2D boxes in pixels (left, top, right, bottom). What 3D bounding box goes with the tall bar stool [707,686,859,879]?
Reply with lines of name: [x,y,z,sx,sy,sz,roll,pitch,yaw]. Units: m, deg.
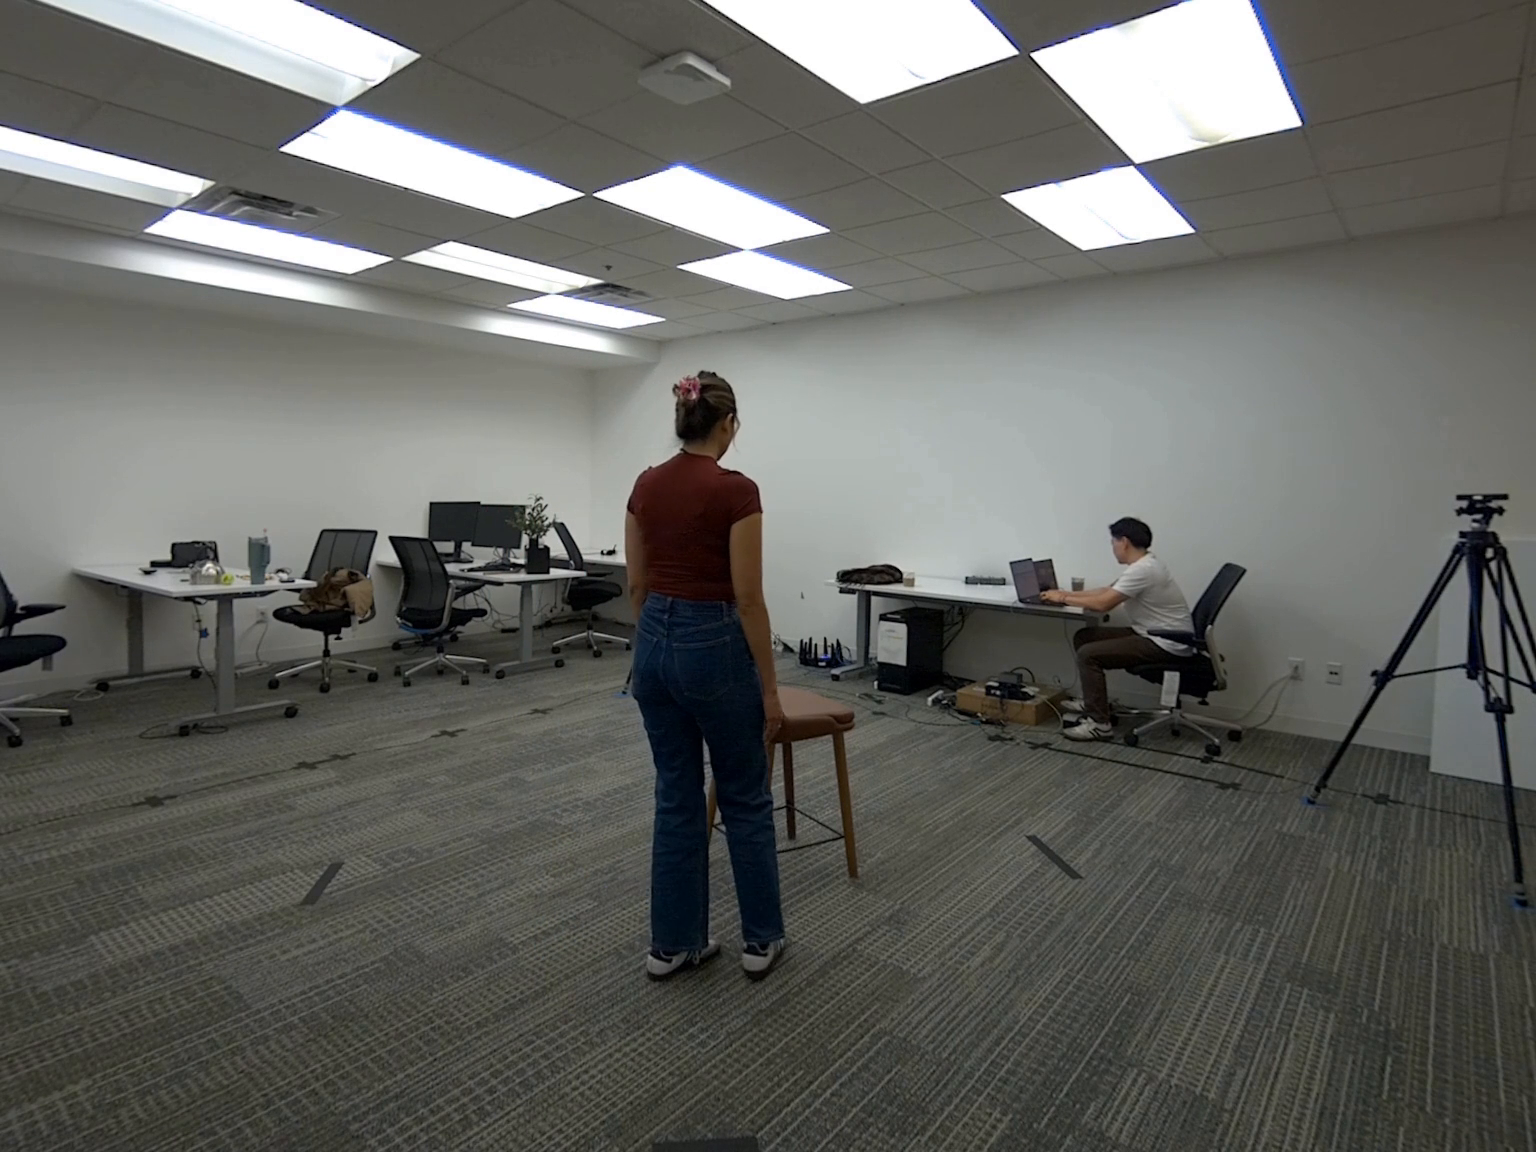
tall bar stool: [0.023,0.632,3.092,0.455,0.887,0.471,-3,4,-33]
